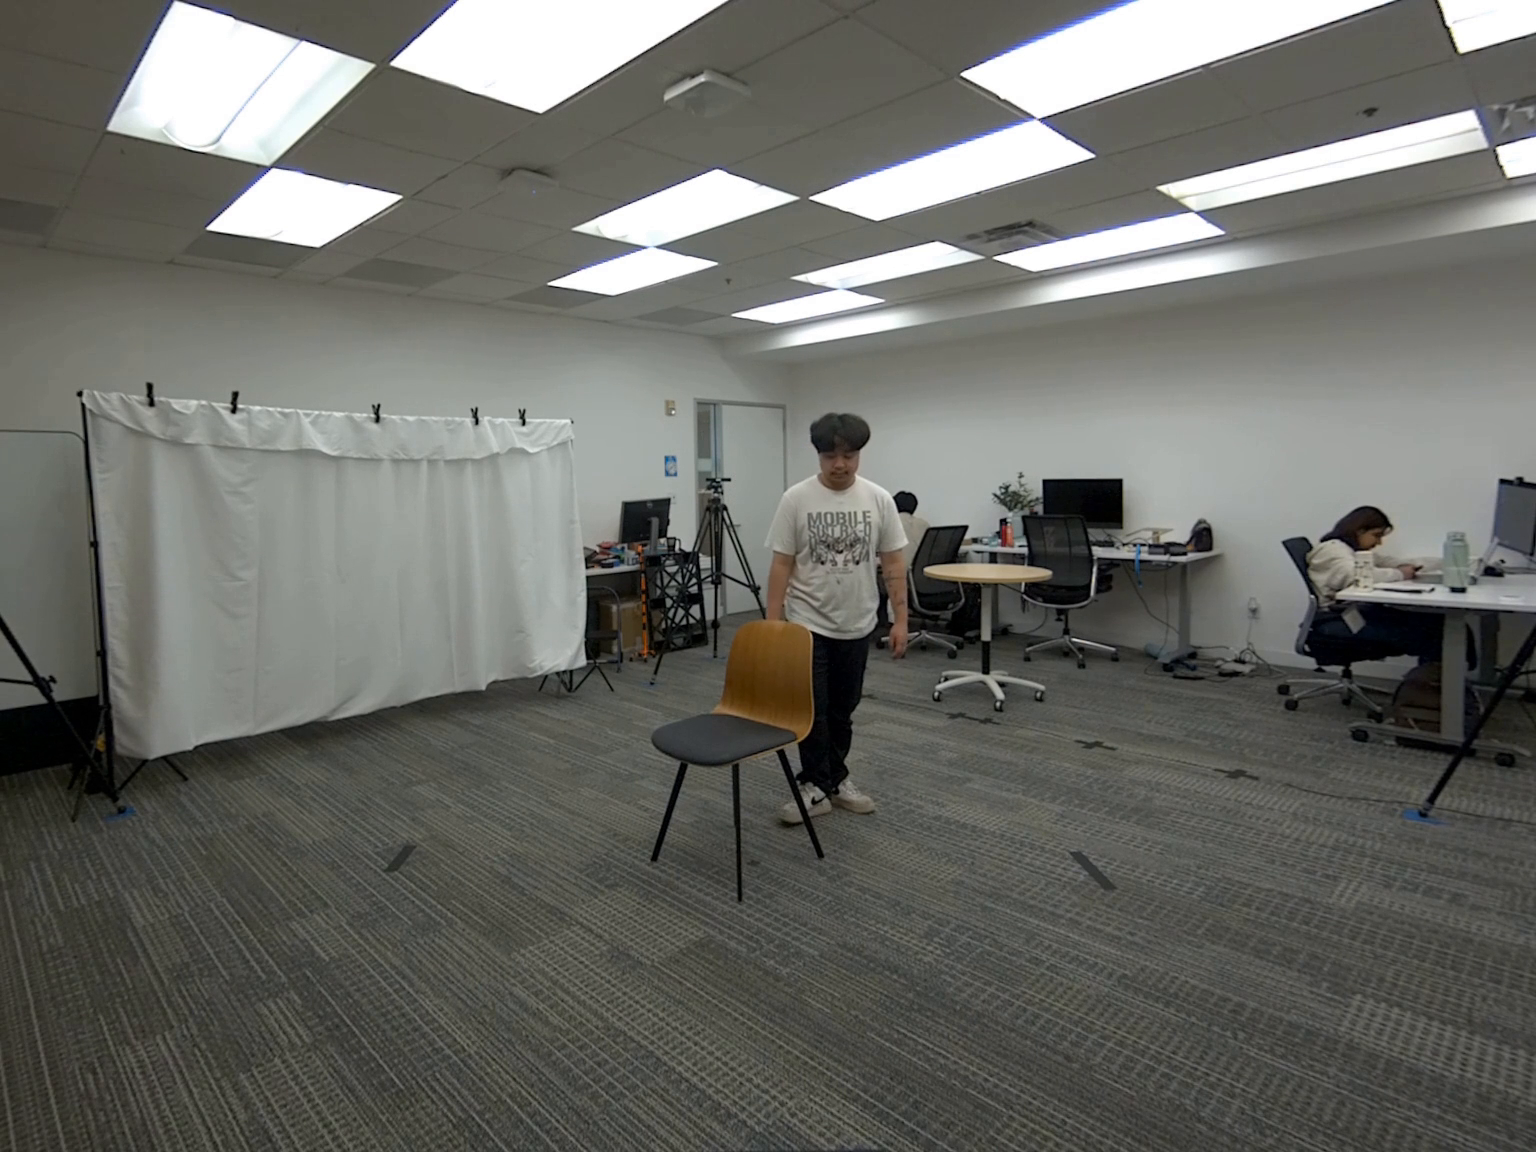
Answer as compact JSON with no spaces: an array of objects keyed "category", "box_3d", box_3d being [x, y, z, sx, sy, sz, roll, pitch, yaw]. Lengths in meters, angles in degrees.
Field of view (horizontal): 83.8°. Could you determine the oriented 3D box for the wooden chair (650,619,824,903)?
[{"category":"wooden chair","box_3d":[-0.123,0.617,3.092,0.493,0.876,0.508,4,2,43]}]
